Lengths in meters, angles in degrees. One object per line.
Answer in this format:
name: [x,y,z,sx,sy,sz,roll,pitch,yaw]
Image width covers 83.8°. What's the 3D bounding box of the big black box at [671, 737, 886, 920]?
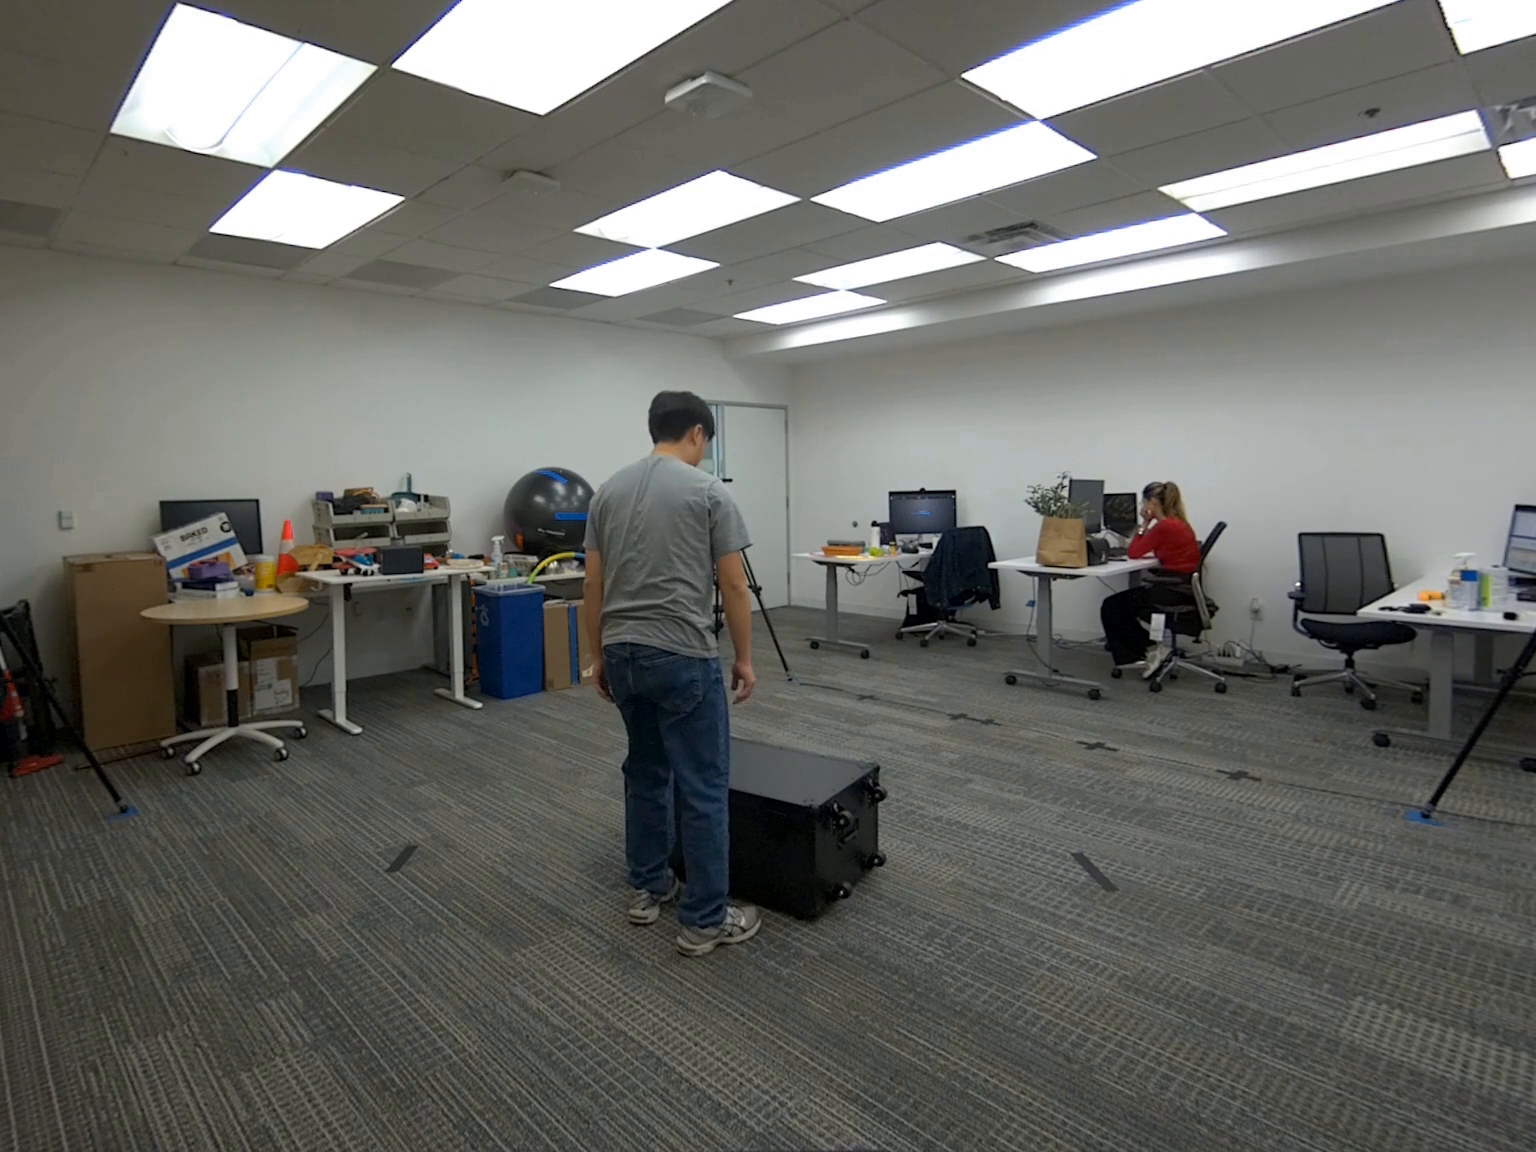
big black box: [-0.031,0.860,3.054,0.885,0.394,0.509,2,7,33]
